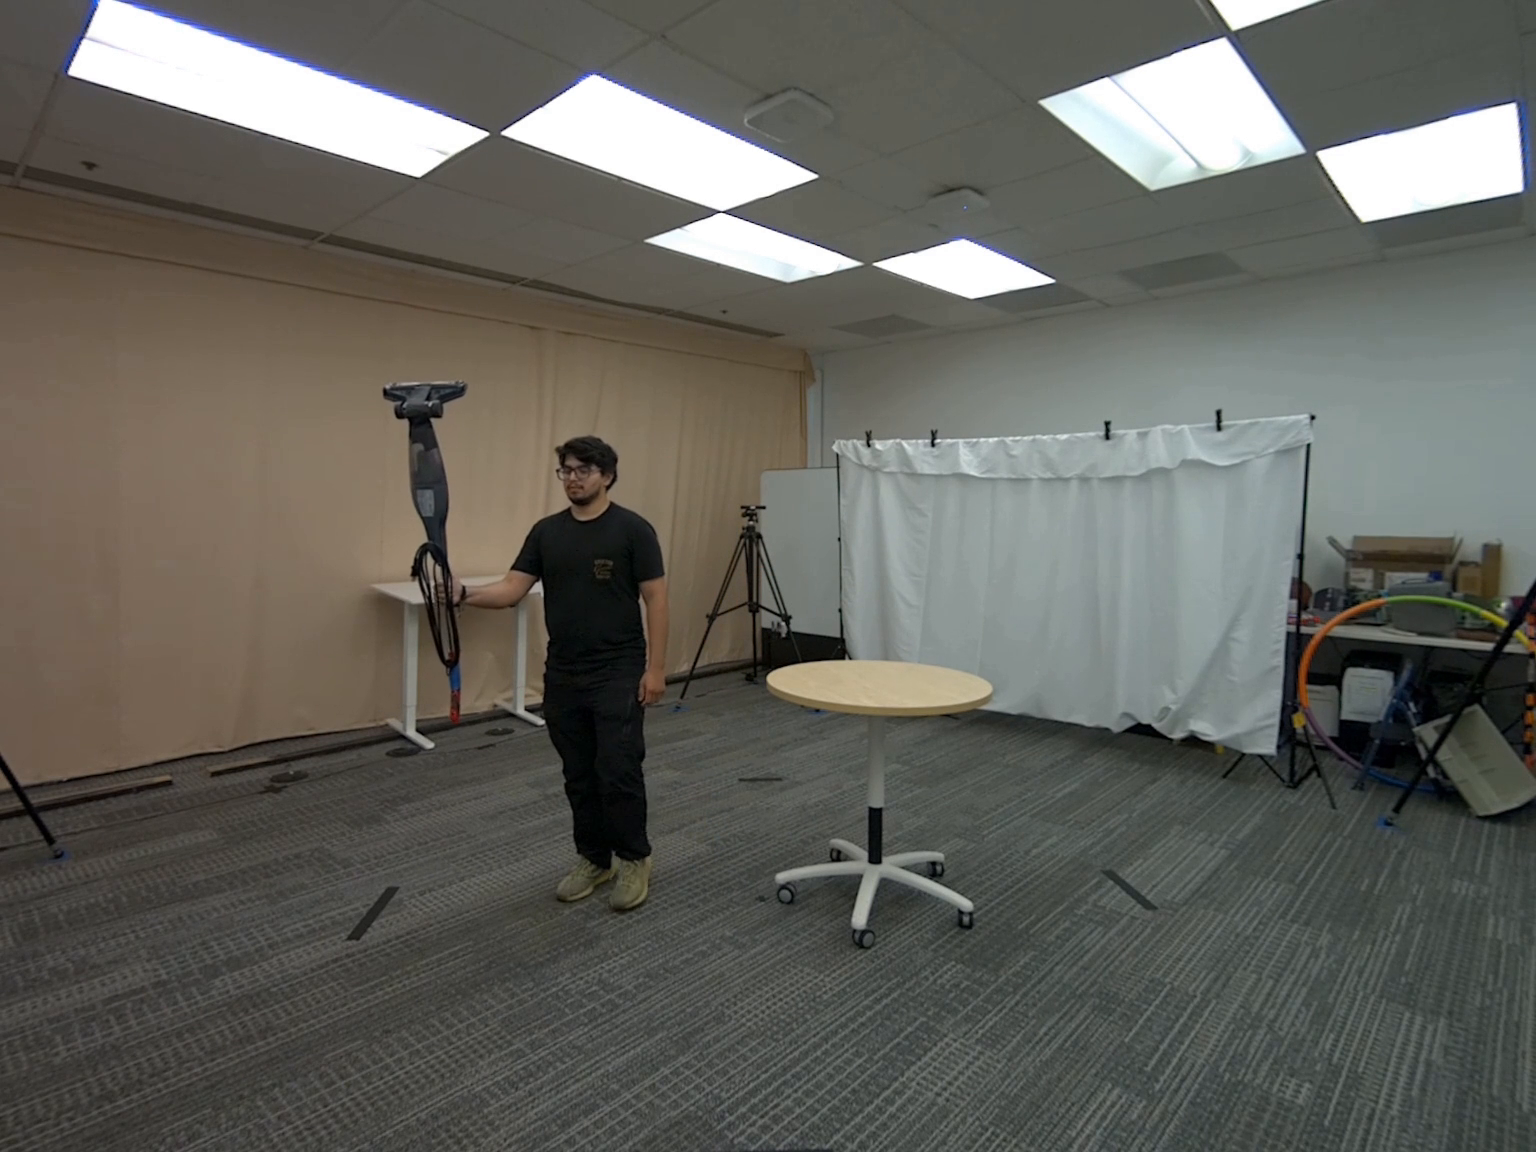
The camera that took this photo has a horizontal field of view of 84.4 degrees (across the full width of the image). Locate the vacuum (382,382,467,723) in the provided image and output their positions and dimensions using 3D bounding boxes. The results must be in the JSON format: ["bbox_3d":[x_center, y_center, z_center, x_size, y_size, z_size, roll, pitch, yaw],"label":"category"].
[{"bbox_3d":[-1.047,-0.042,2.649,0.253,1.040,0.145,-1,12,0],"label":"vacuum"}]
